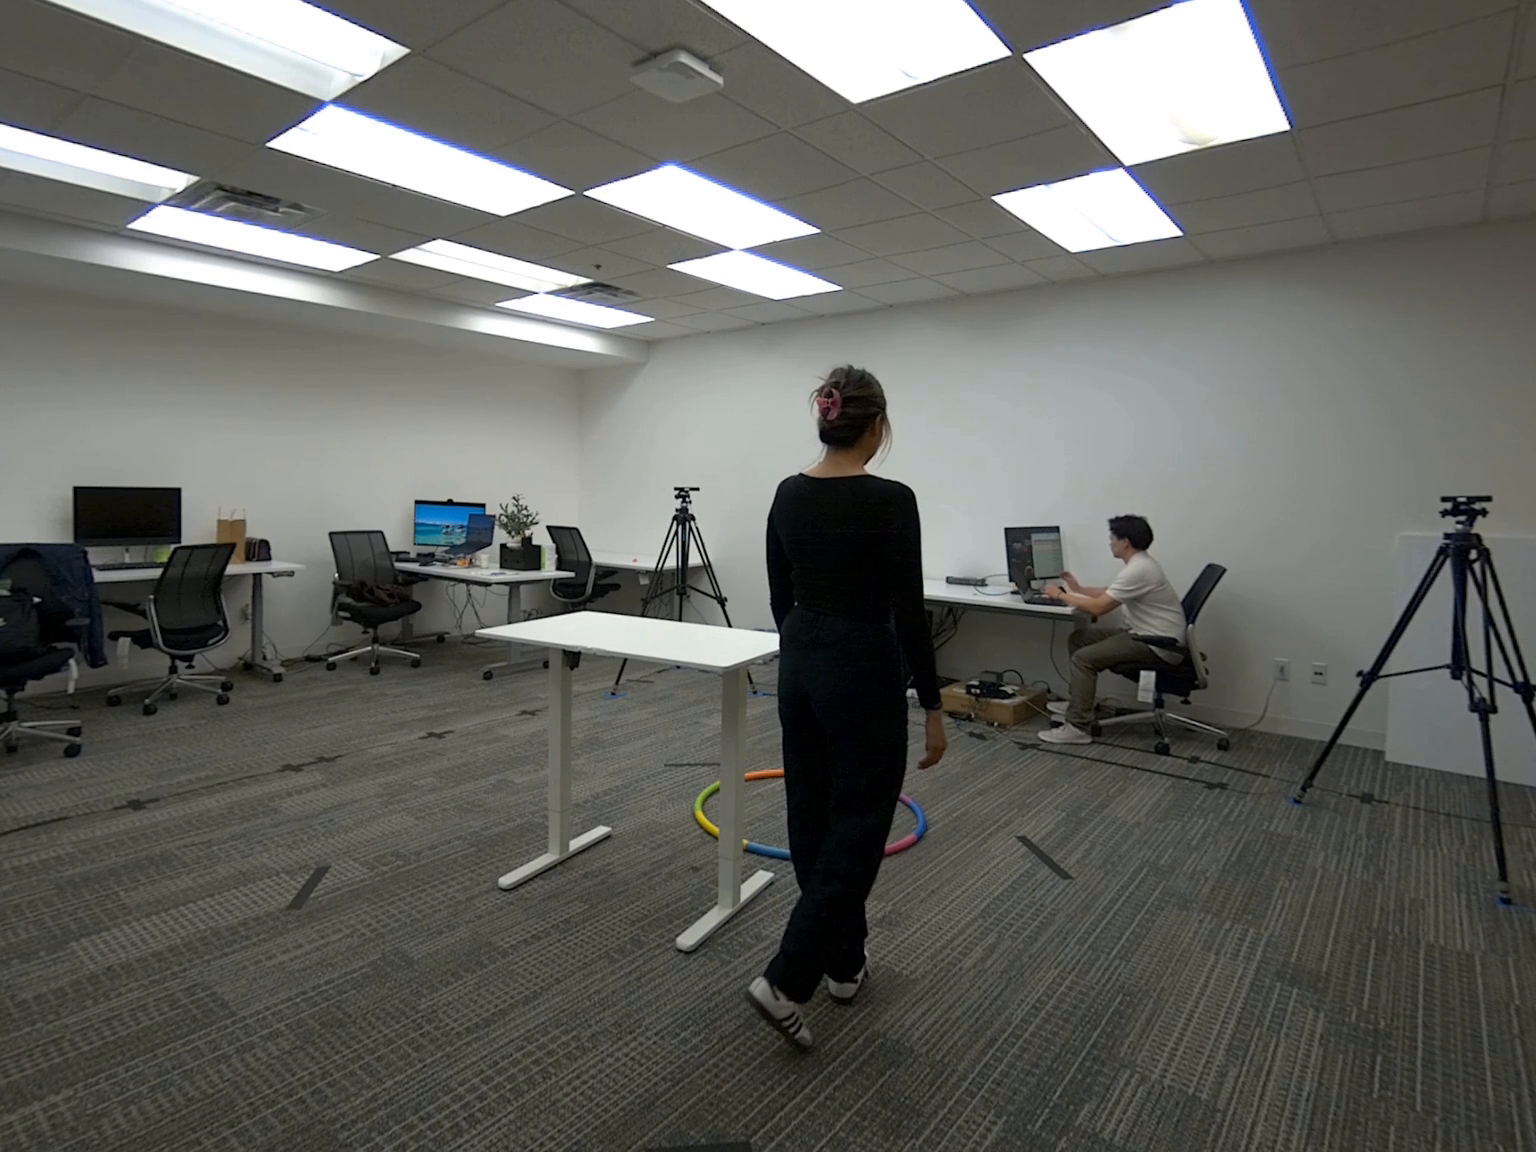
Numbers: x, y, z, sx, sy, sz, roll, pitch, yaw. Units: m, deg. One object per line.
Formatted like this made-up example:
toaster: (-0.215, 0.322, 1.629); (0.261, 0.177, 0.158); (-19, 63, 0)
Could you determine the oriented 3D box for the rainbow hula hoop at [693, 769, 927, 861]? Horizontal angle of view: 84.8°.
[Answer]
rainbow hula hoop: (0.162, 0.991, 3.659); (0.978, 0.035, 0.984); (0, 6, -2)
